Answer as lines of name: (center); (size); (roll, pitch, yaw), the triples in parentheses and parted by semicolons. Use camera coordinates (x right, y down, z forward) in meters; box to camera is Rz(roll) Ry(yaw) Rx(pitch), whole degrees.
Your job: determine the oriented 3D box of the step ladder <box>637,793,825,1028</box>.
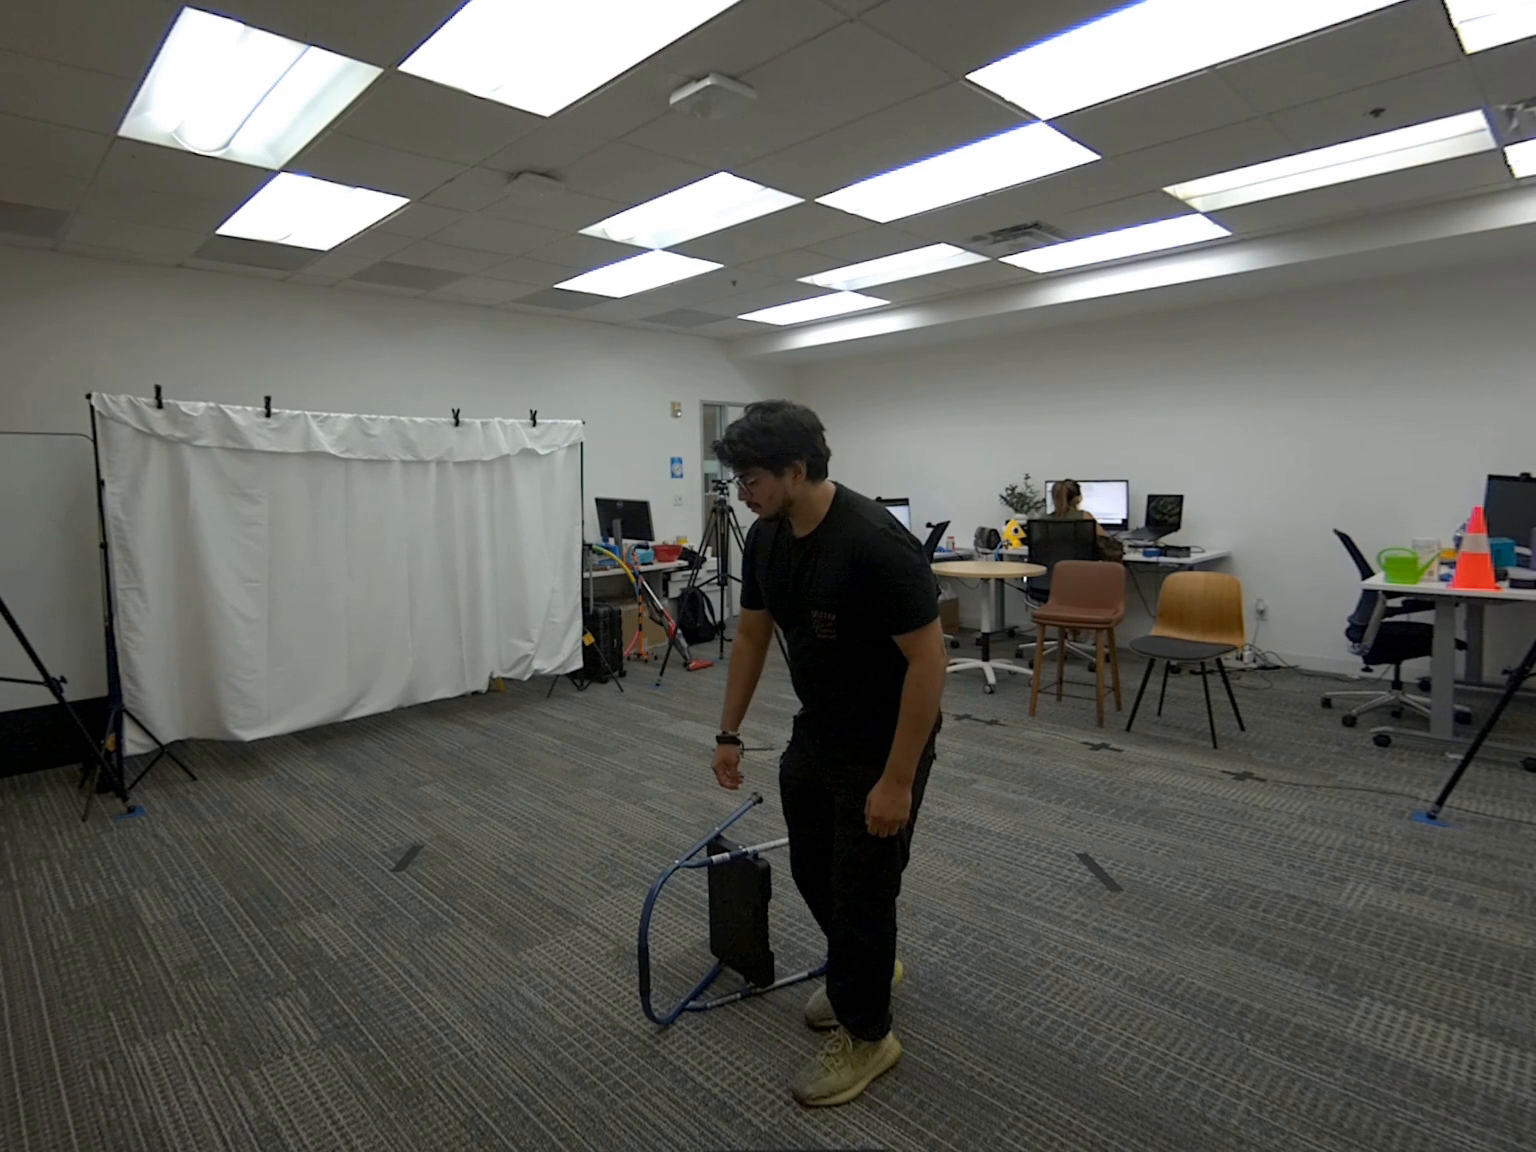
step ladder: (-0.132, 0.930, 2.354); (0.591, 0.428, 0.360); (-9, 8, -41)
